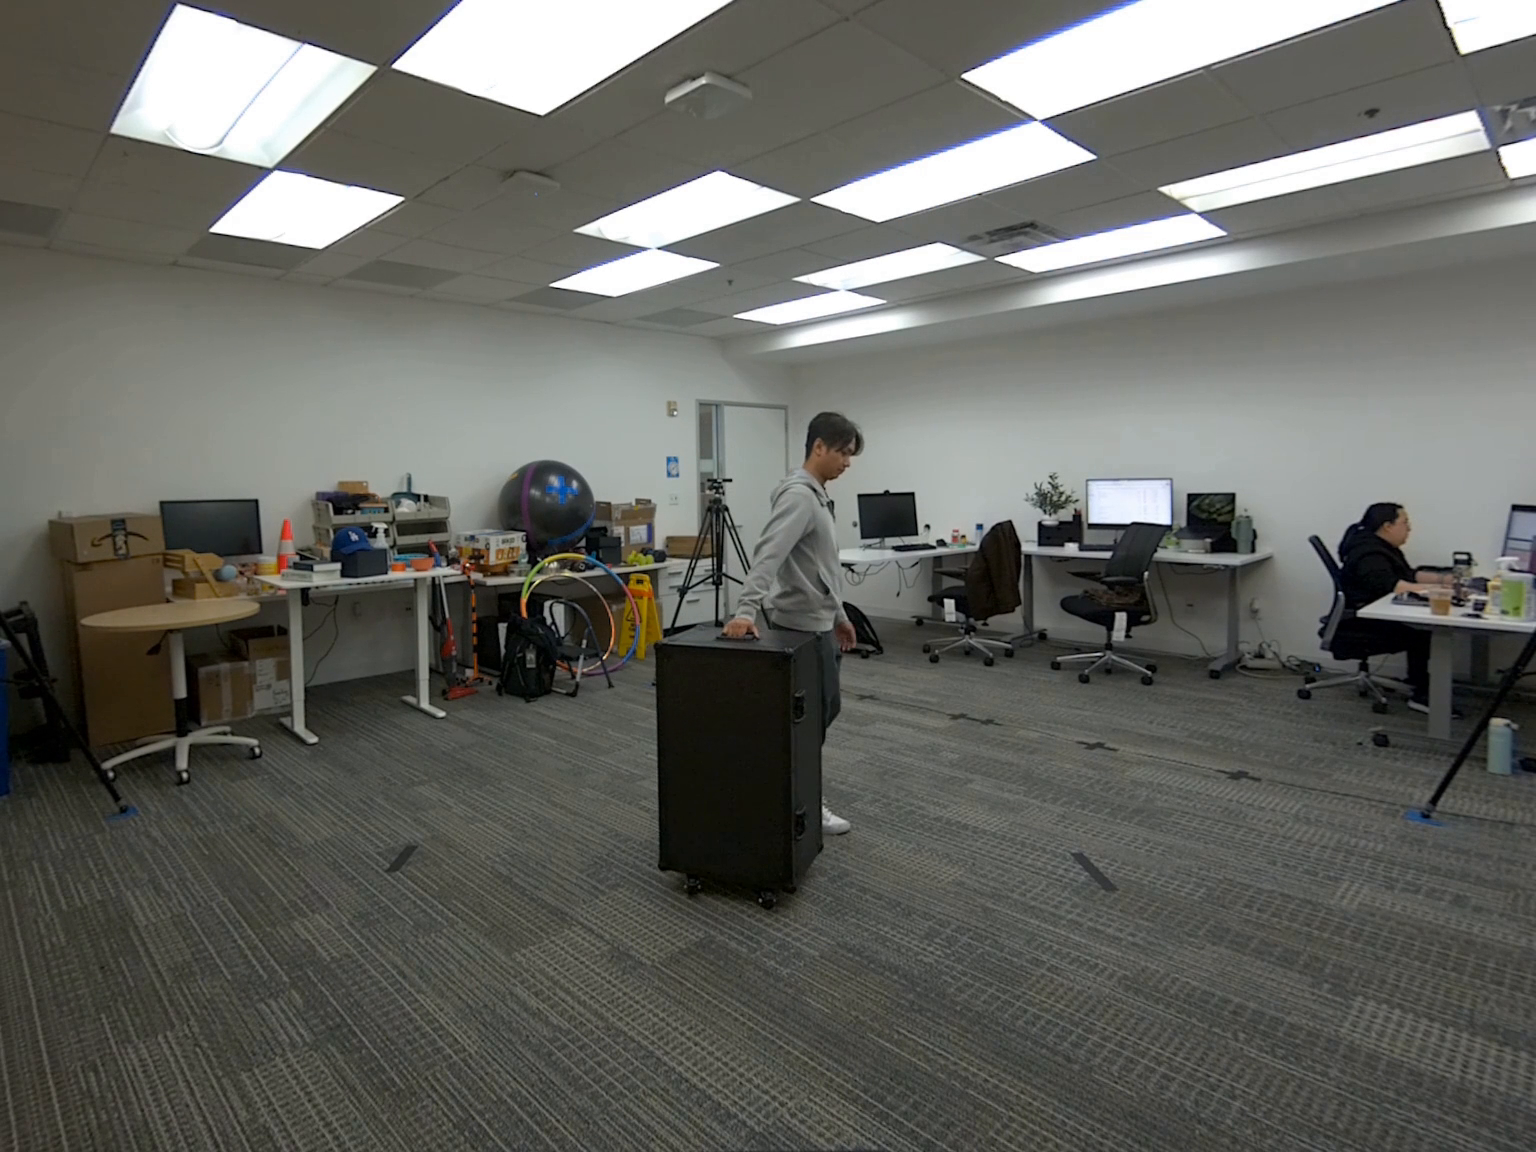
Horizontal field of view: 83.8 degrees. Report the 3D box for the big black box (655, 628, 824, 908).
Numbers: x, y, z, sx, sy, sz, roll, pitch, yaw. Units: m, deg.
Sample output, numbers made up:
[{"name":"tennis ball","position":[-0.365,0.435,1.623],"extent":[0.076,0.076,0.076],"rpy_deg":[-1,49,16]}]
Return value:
[{"name":"big black box","position":[-0.095,0.636,2.977],"extent":[0.532,0.860,0.389],"rpy_deg":[1,3,22]}]
